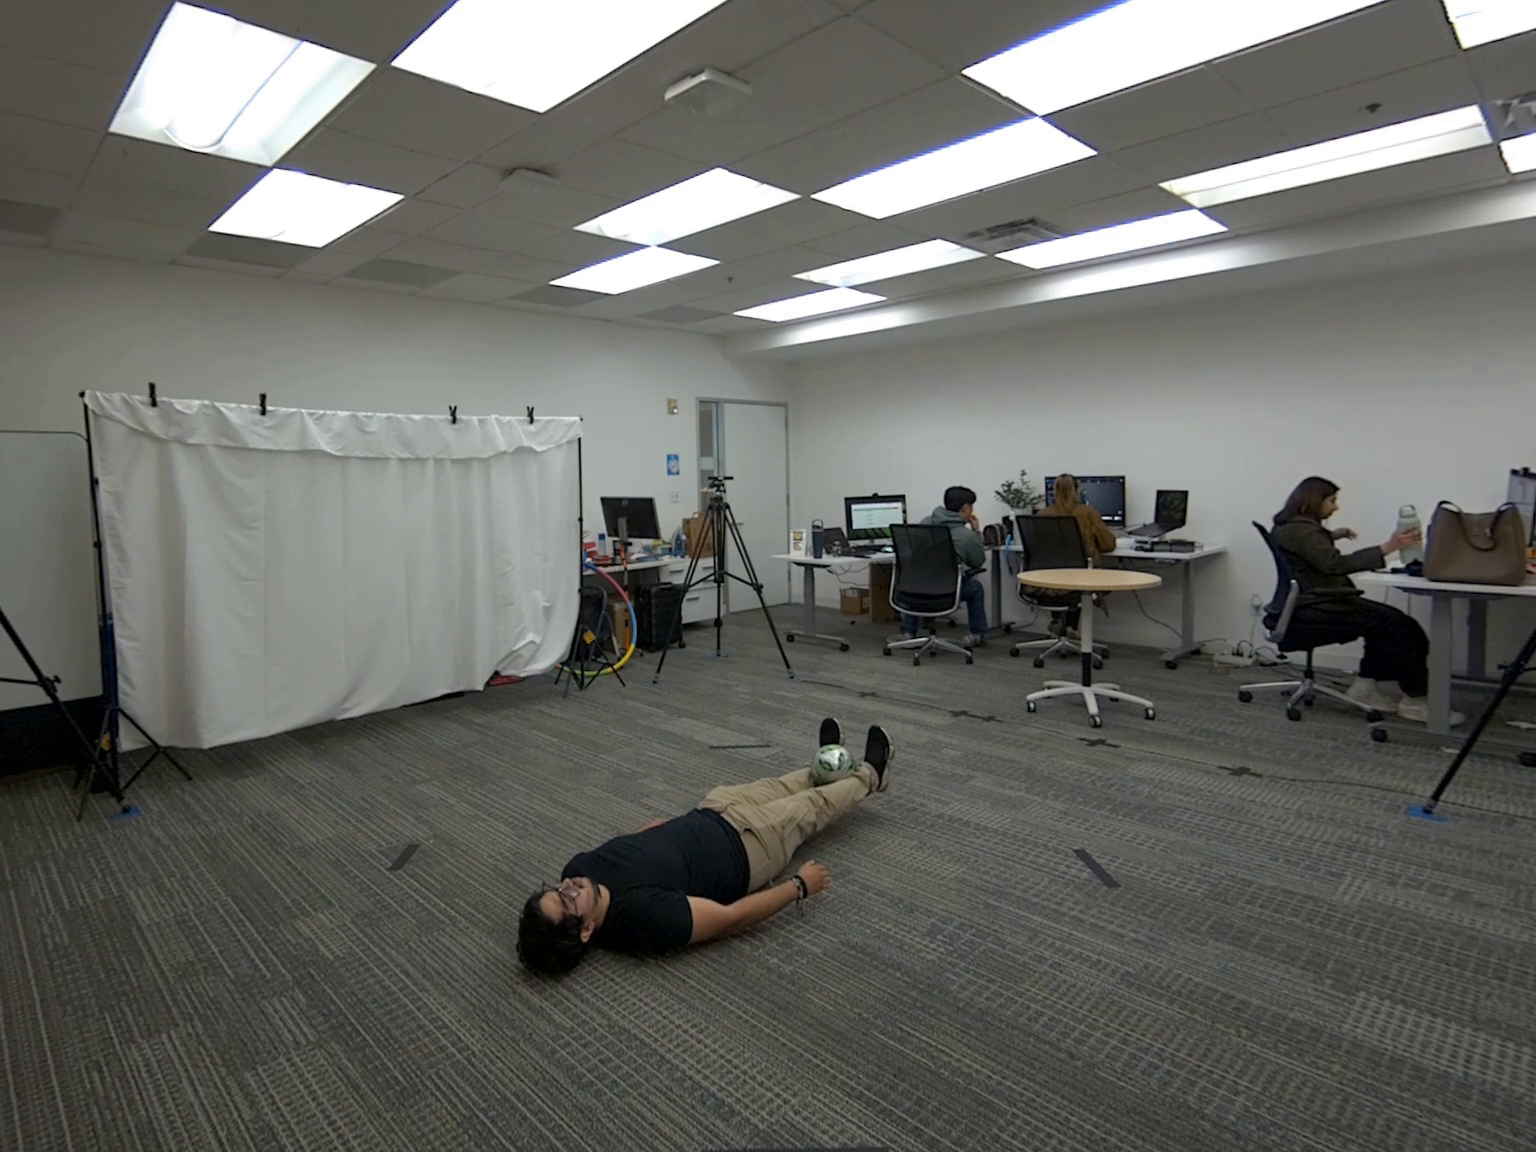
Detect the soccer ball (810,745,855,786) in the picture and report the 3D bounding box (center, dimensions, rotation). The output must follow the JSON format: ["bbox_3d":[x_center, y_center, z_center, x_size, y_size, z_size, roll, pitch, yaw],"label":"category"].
[{"bbox_3d":[0.274,0.790,3.493,0.187,0.187,0.188,-1,4,-2],"label":"soccer ball"}]
